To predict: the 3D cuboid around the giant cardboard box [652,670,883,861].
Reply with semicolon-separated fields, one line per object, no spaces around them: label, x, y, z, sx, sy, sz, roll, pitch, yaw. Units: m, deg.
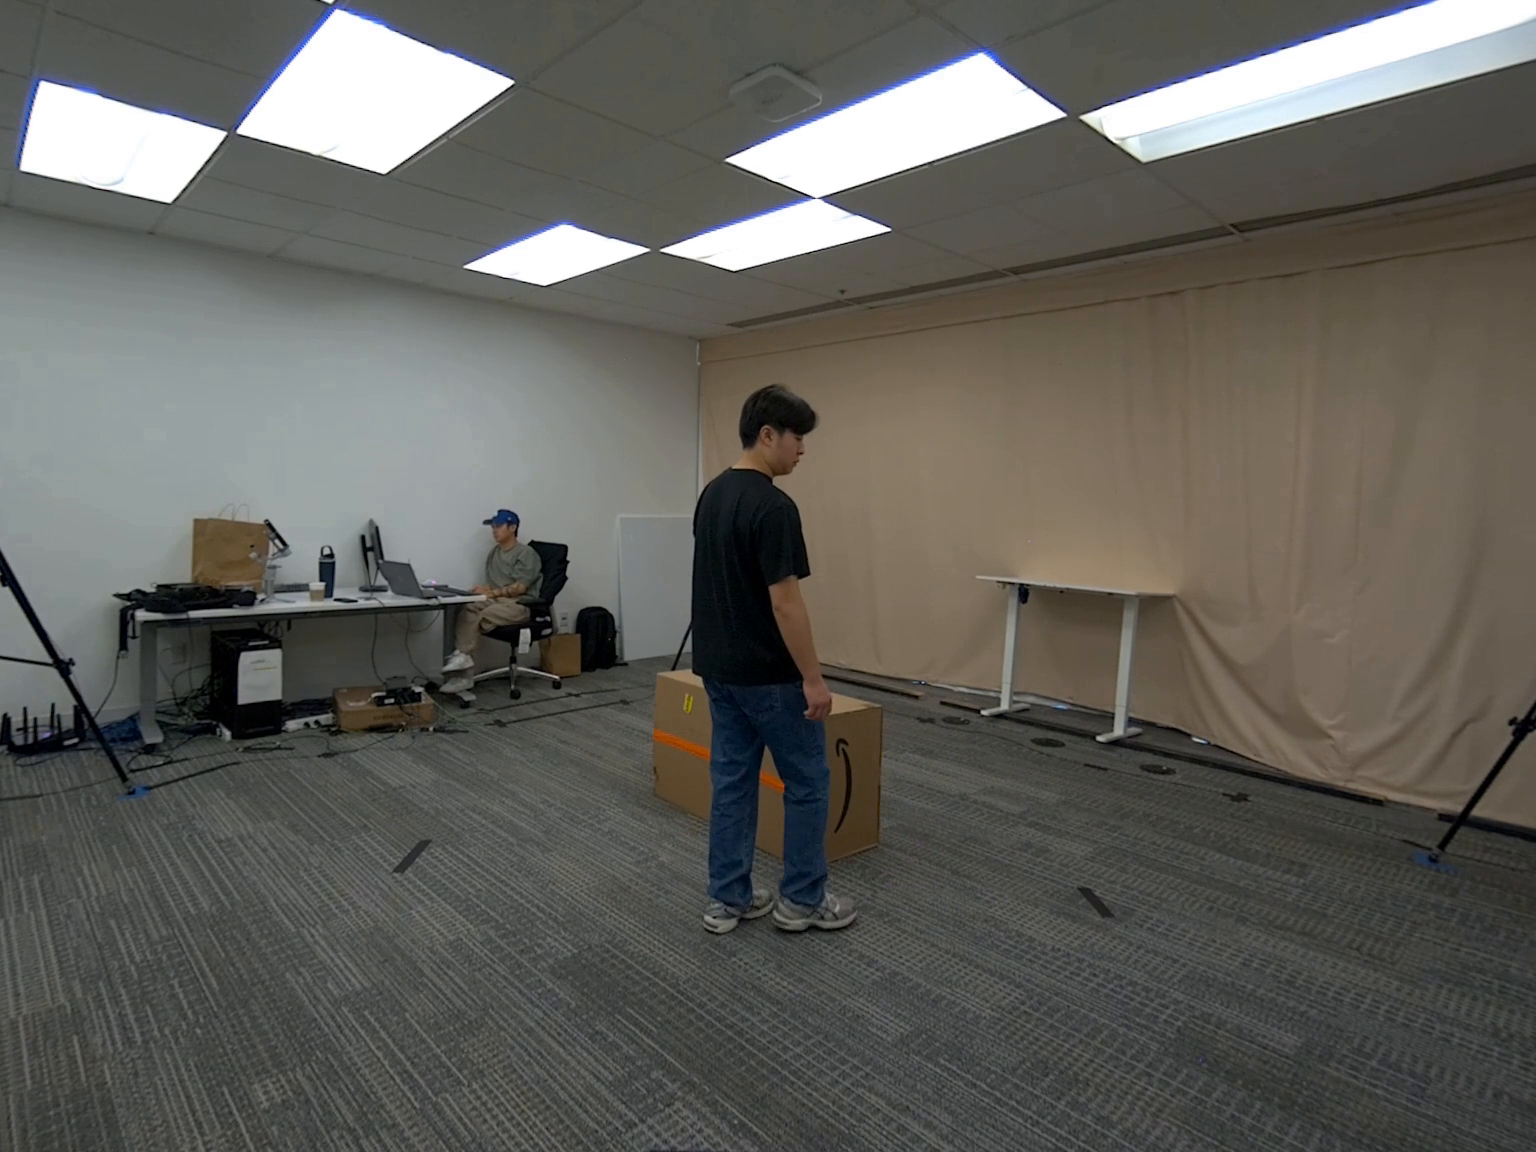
giant cardboard box;-0.043;0.776;3.665;0.437;0.582;1.053;-2;5;-40
